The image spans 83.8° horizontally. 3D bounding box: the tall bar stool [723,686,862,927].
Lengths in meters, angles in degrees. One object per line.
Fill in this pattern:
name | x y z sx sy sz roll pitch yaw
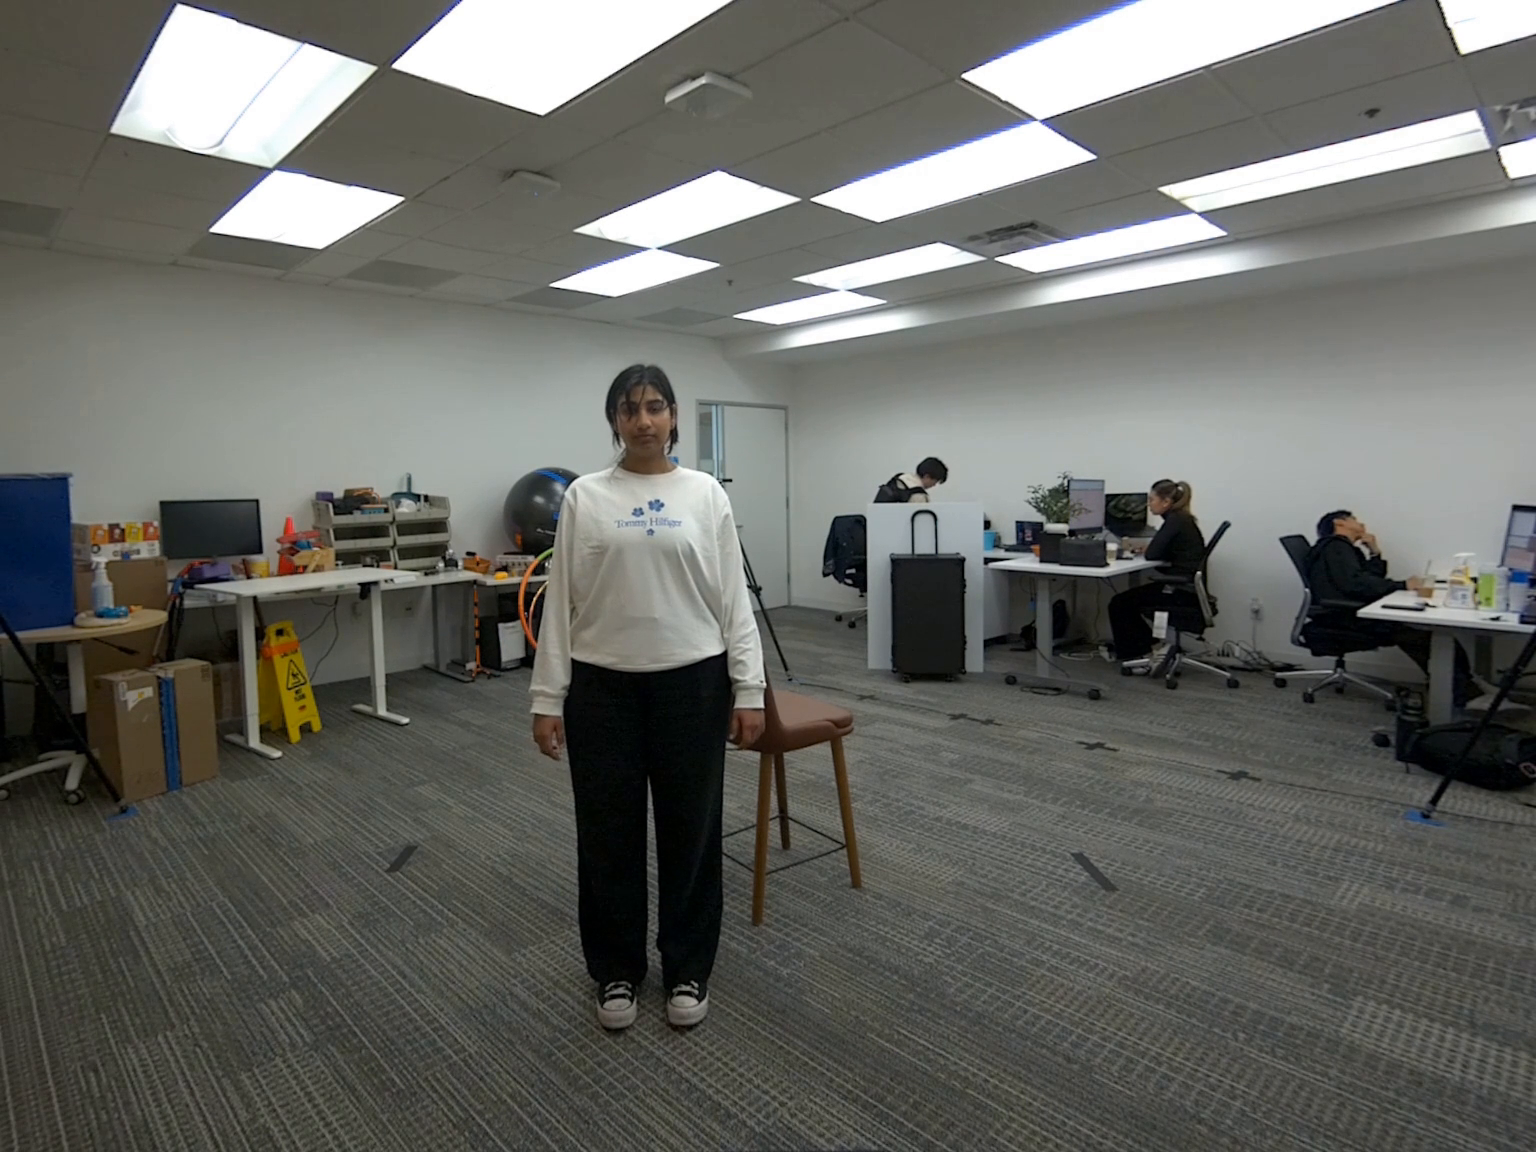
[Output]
tall bar stool | 0.015 0.629 2.921 0.456 0.885 0.470 -6 7 -36
